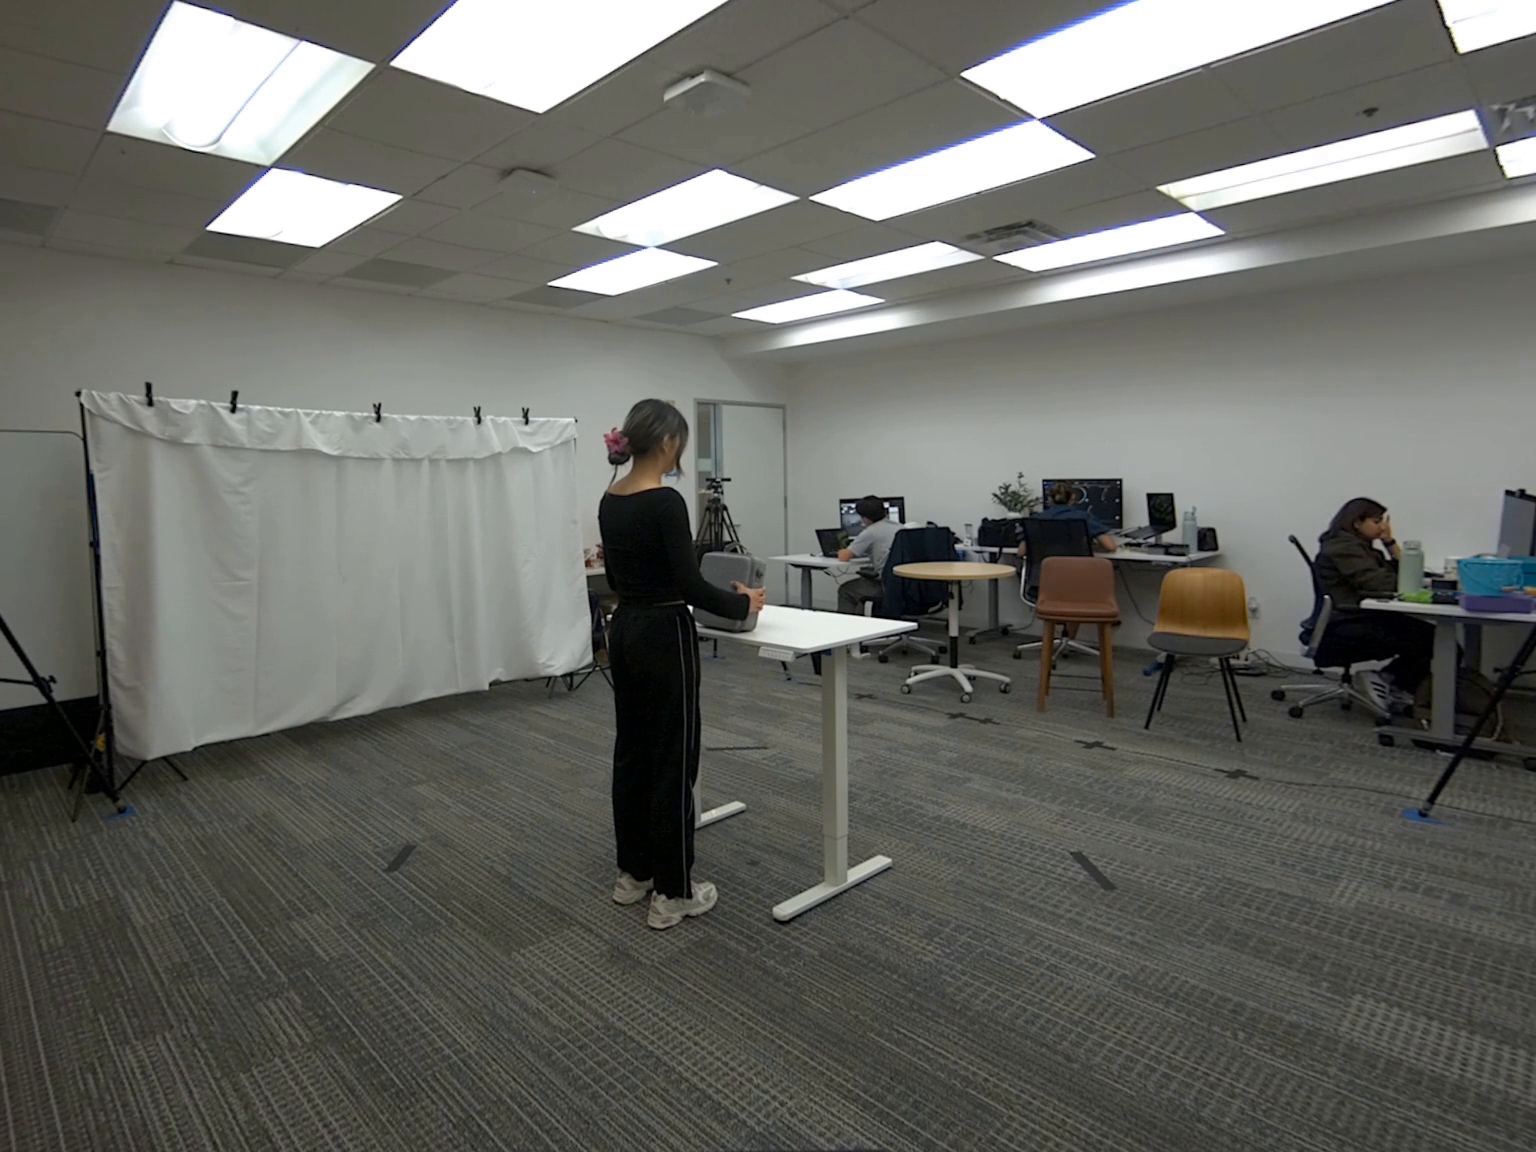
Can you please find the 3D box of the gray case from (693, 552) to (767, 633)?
[{"bbox_3d":[-0.139,0.048,2.922,0.101,0.261,0.264,12,-4,-36],"label":"gray case"}]
